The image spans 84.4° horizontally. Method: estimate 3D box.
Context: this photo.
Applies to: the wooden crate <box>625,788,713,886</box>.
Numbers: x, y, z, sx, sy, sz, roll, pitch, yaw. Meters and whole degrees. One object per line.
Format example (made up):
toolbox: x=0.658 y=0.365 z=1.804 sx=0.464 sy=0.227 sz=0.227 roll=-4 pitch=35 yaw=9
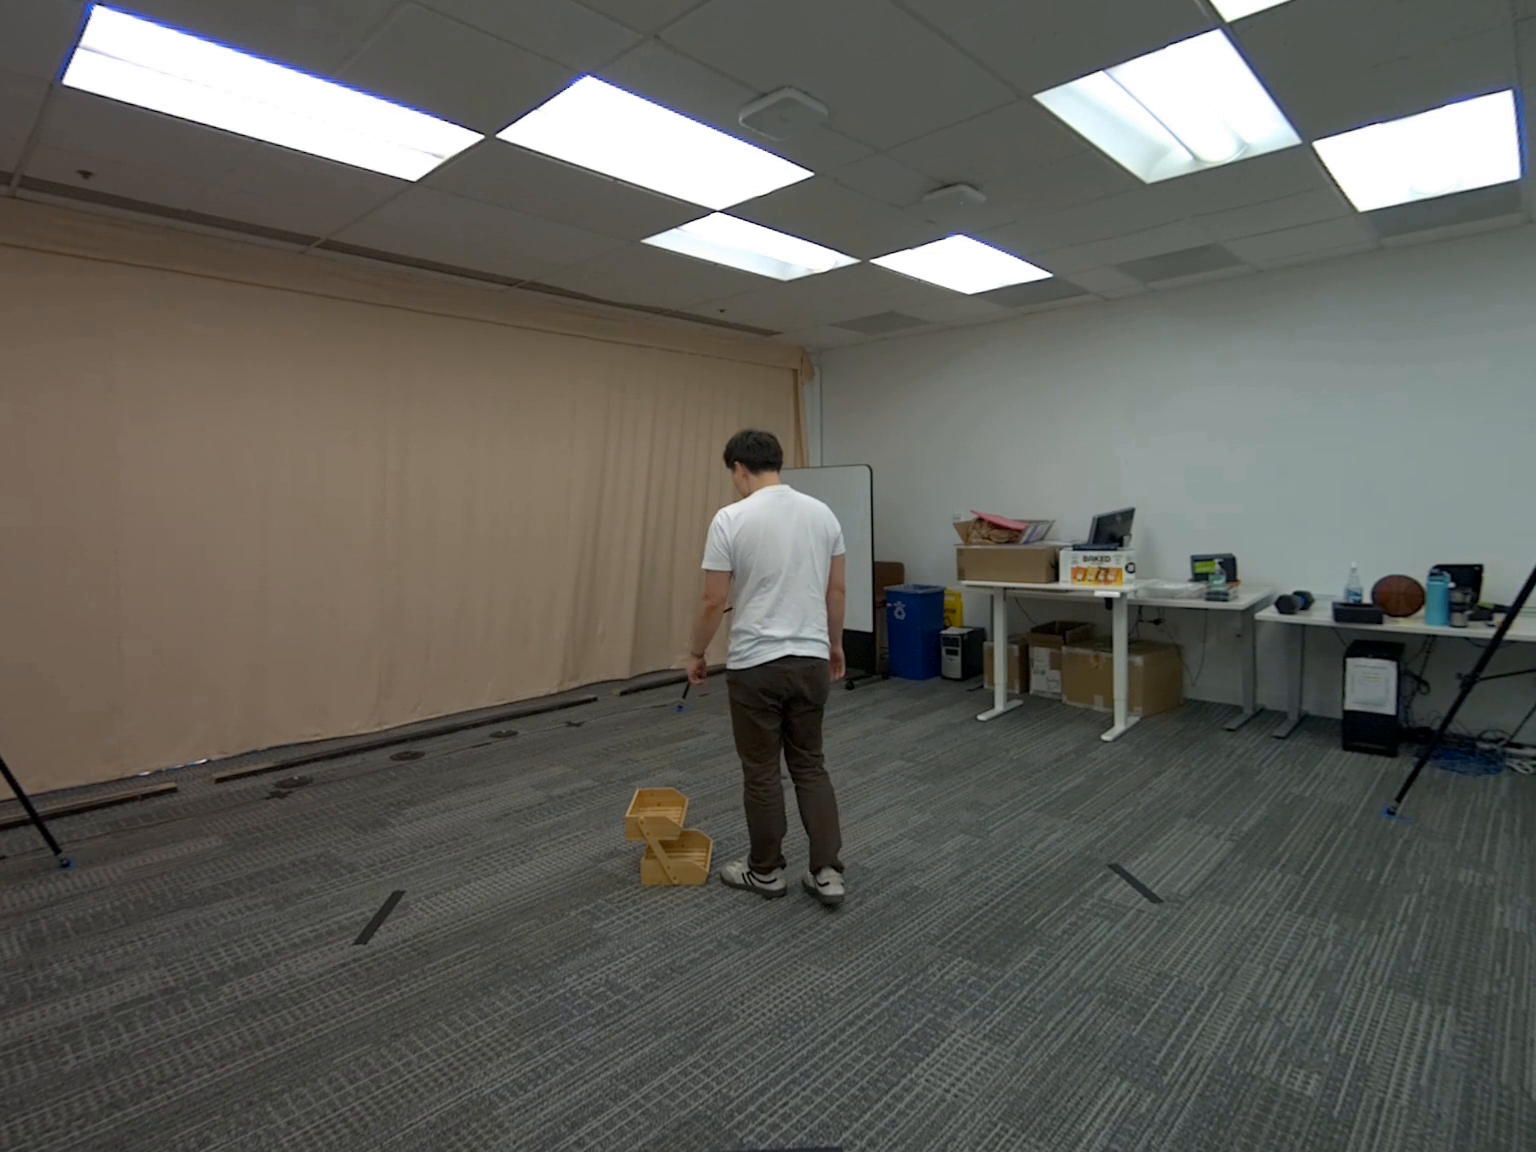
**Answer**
wooden crate: x=-0.370 y=0.992 z=3.241 sx=0.303 sy=0.272 sz=0.324 roll=-1 pitch=4 yaw=1
